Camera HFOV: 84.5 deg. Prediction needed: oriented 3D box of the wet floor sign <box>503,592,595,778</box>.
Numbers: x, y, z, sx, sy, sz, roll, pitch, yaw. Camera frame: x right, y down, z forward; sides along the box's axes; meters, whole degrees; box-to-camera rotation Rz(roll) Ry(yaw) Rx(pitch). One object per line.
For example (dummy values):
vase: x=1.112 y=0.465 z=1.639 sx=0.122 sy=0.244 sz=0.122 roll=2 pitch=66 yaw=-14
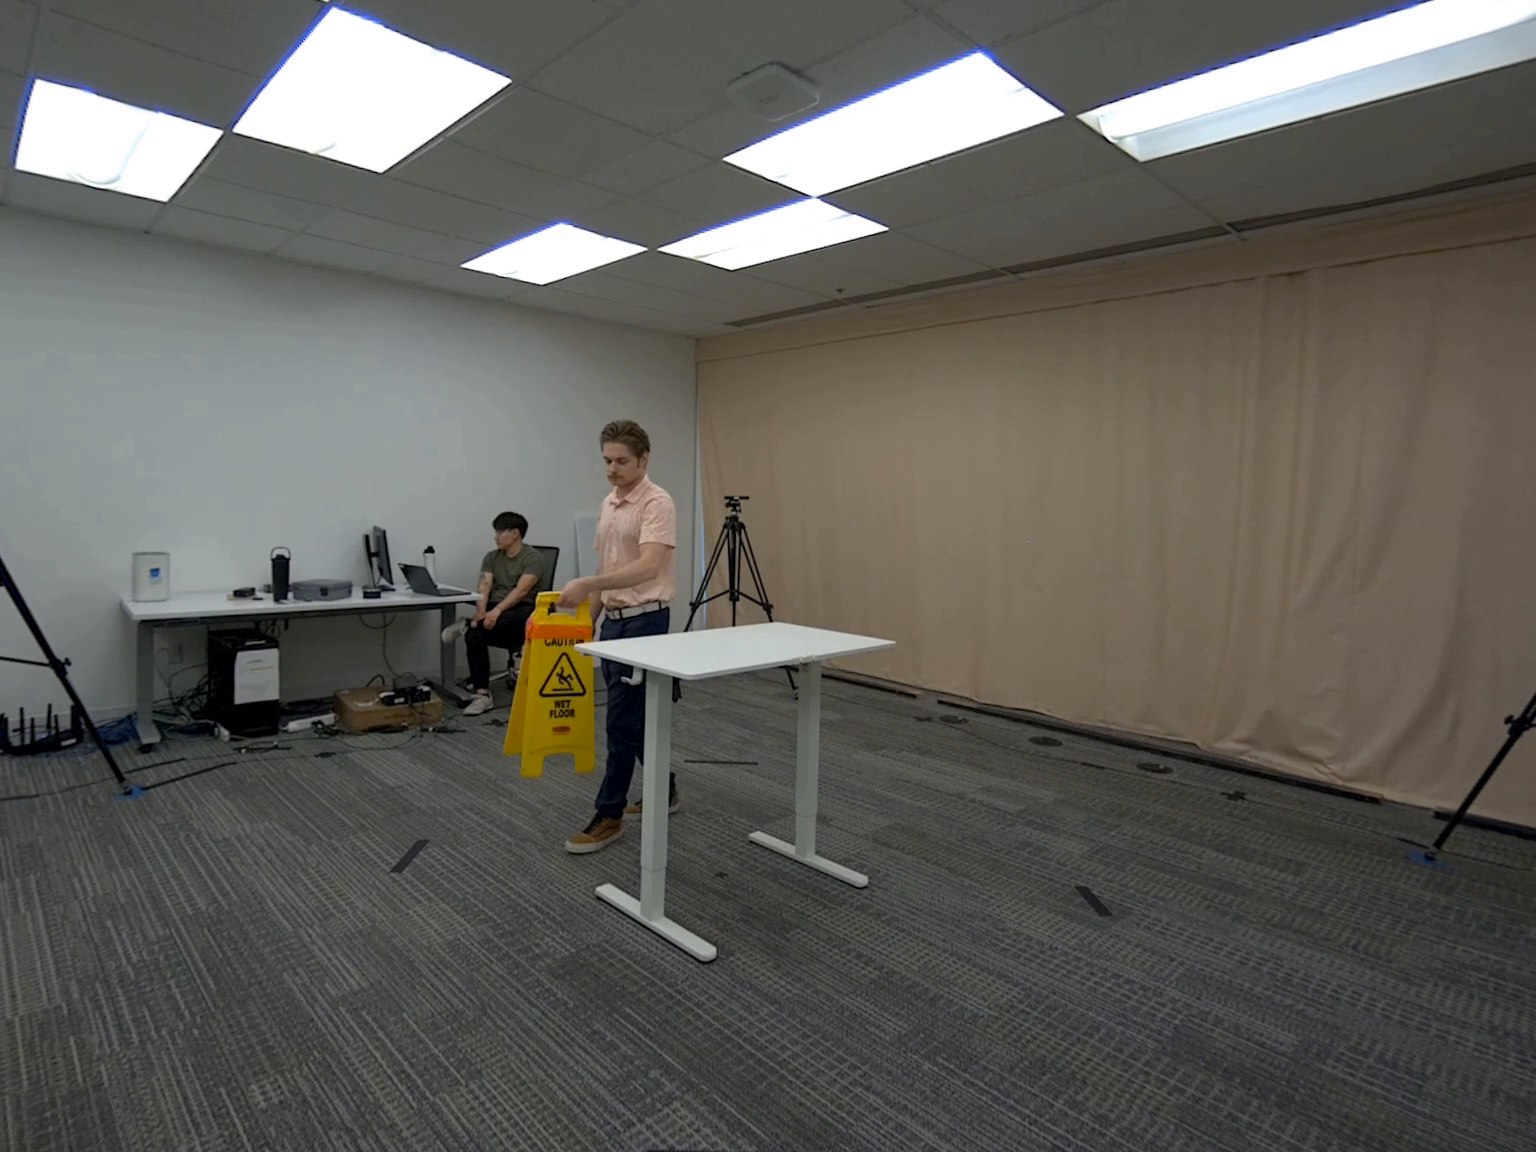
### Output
wet floor sign: x=-0.804 y=0.378 z=3.139 sx=0.276 sy=0.644 sz=0.297 roll=4 pitch=5 yaw=-32
